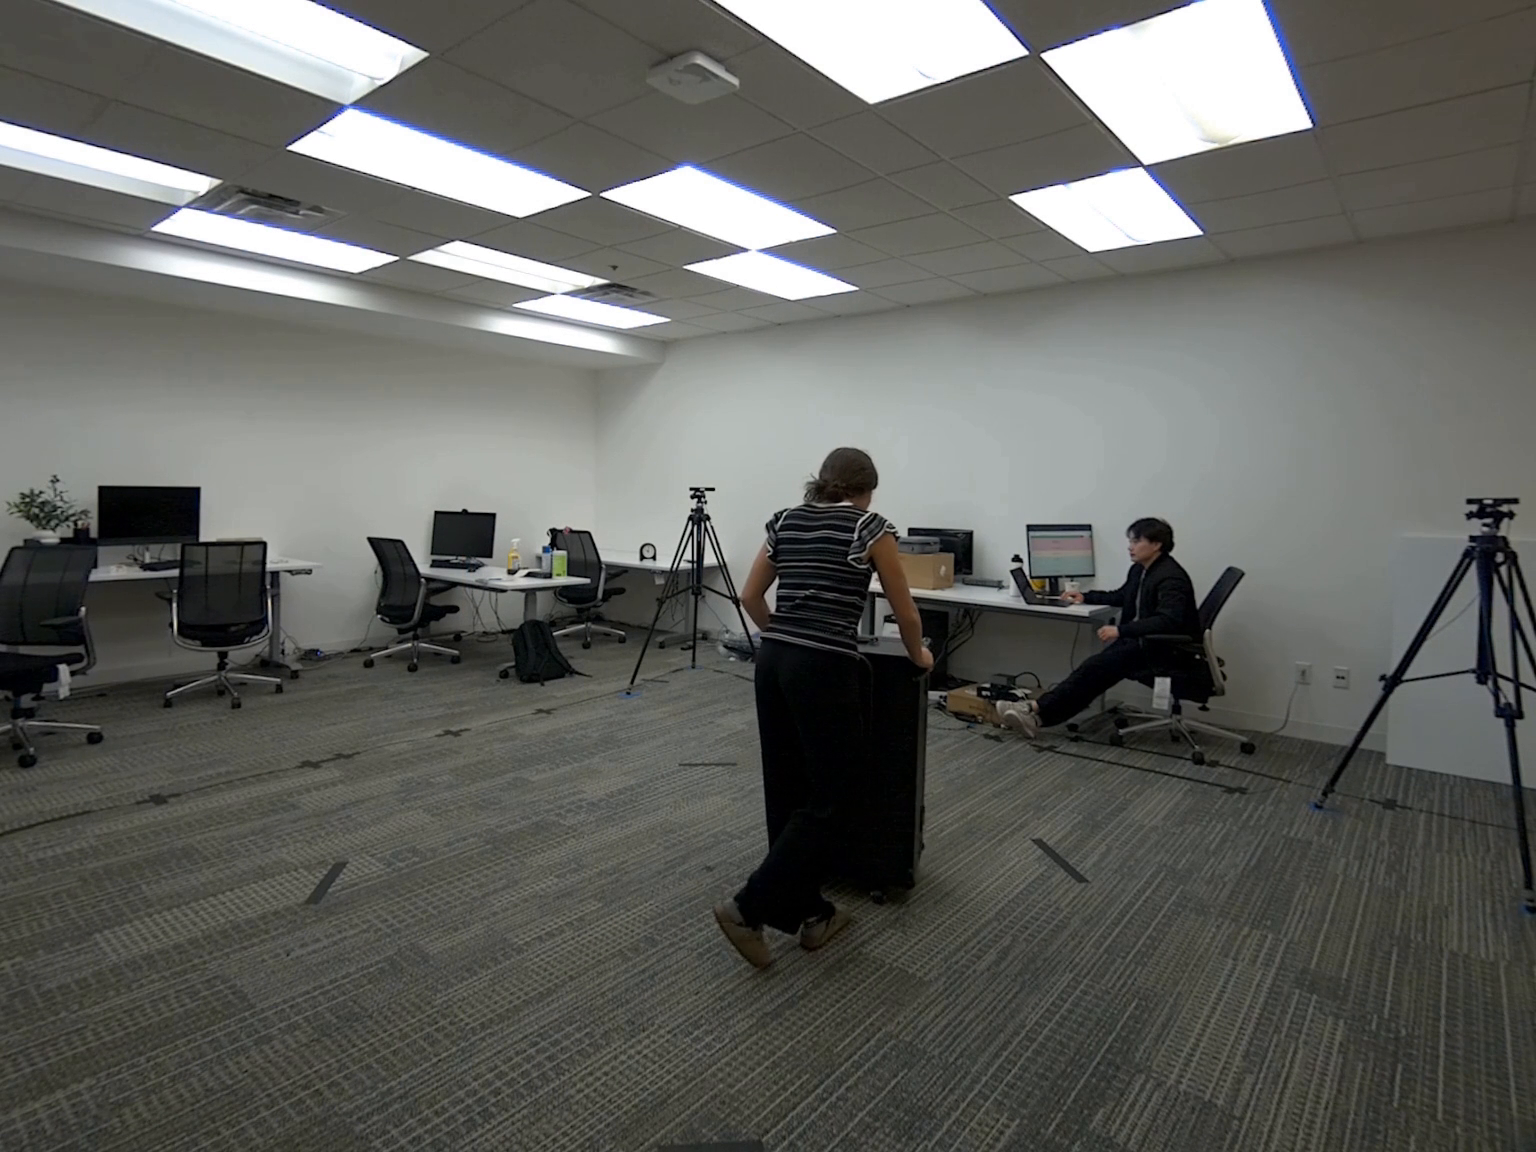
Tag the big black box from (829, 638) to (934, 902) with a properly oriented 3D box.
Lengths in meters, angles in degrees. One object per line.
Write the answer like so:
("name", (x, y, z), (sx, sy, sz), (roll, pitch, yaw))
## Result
("big black box", (0.302, 0.657, 3.042), (0.531, 0.858, 0.390), (2, 4, 18))
